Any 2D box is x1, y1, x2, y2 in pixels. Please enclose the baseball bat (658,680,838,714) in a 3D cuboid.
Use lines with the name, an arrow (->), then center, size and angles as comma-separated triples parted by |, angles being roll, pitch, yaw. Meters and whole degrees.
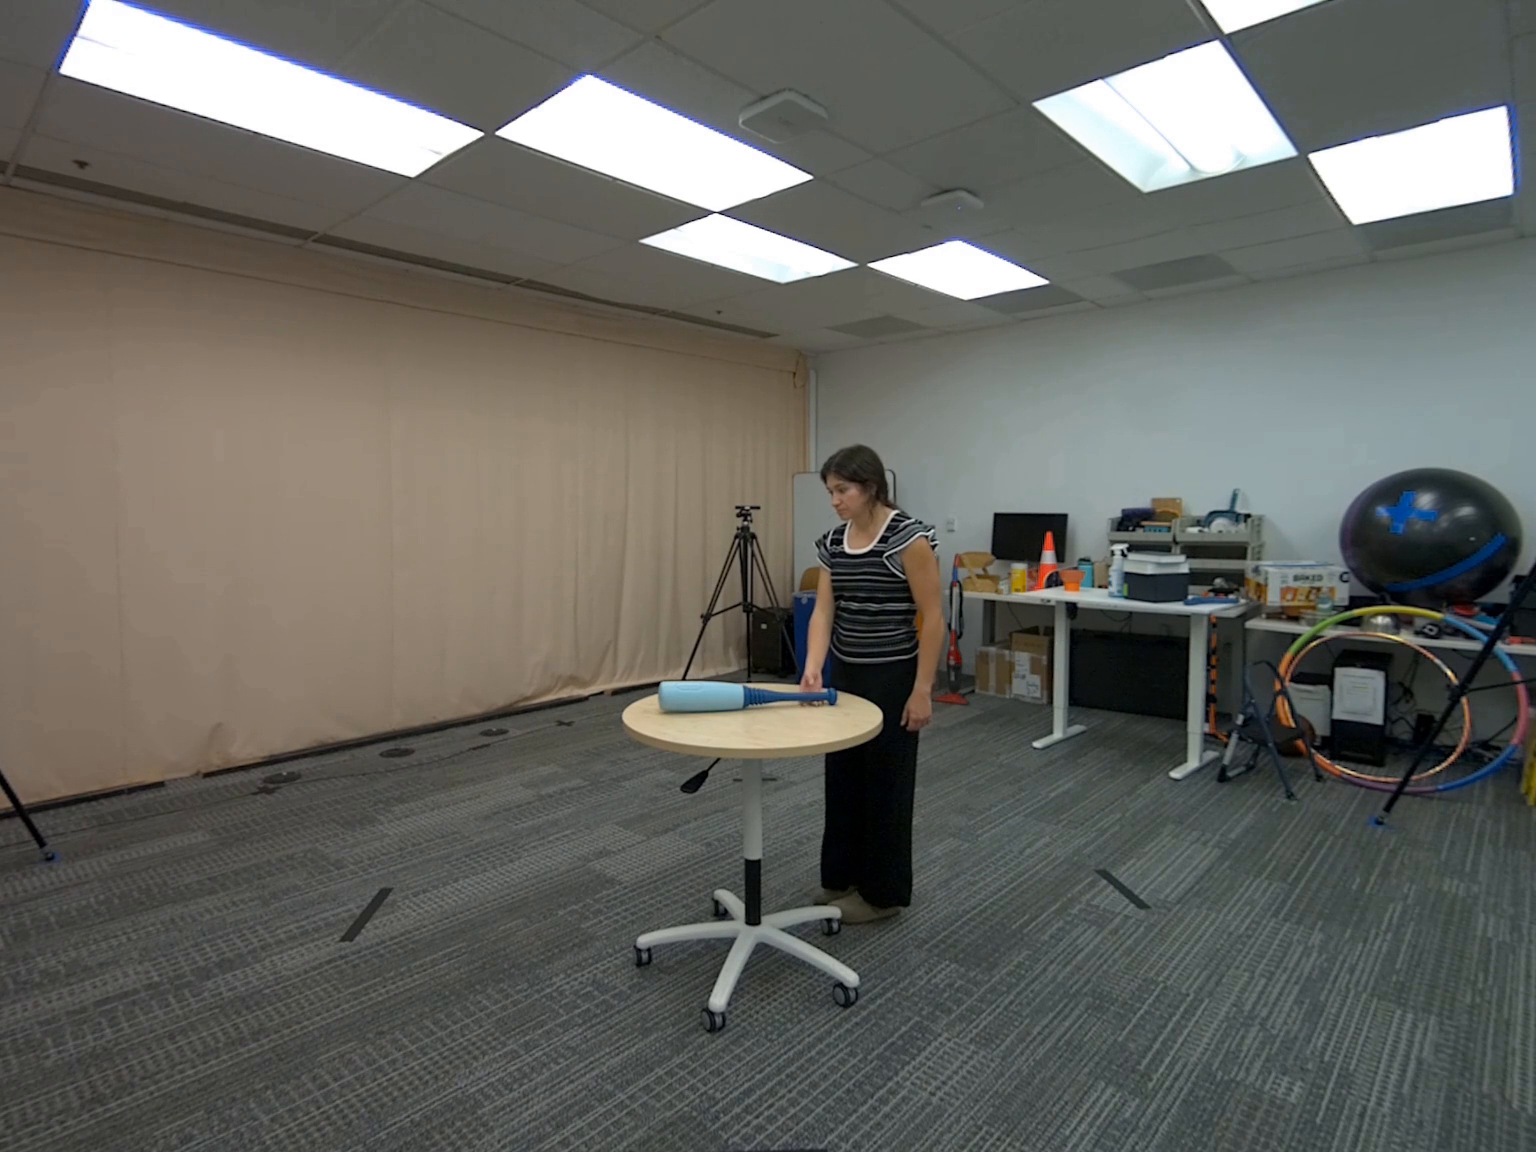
baseball bat -> -0.054, 0.363, 2.523 | 0.538, 0.089, 0.090 | 1, 4, -8
